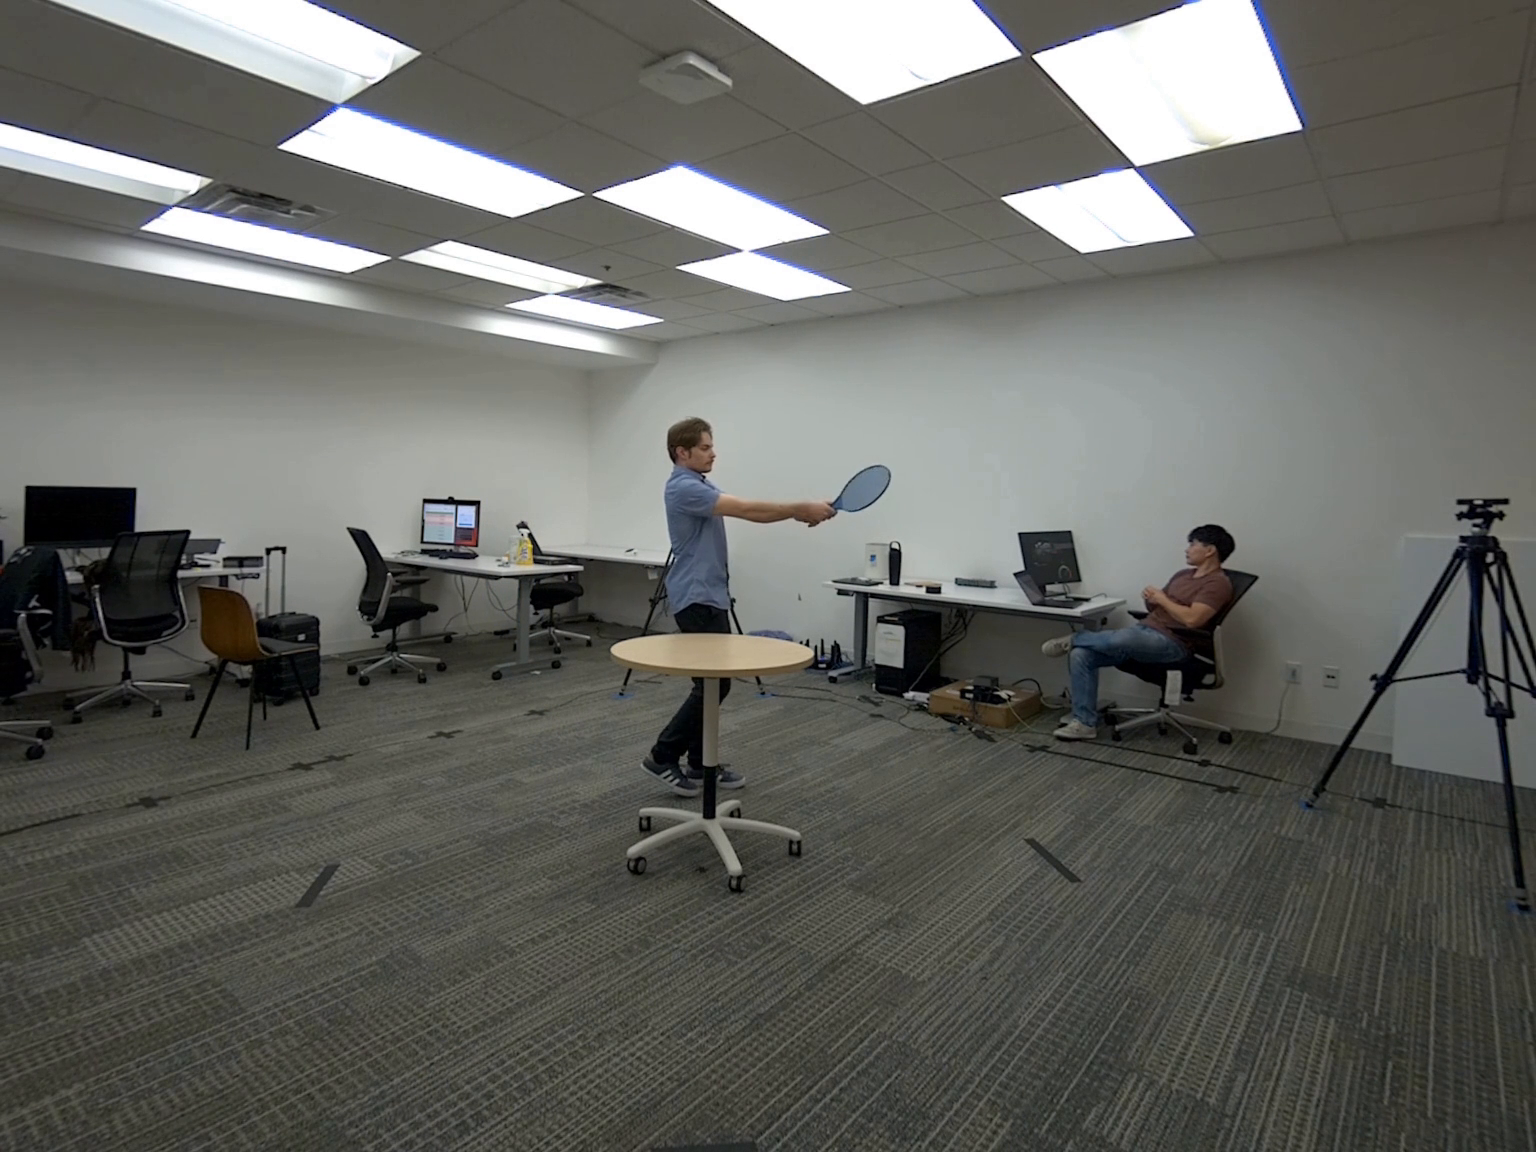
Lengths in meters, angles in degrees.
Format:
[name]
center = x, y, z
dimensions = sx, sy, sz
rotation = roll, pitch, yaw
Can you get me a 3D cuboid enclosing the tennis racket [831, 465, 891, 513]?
[tennis racket]
center = 0.346, -0.336, 3.672
dimensions = 0.438, 0.220, 0.030
rotation = -30, -46, 34
